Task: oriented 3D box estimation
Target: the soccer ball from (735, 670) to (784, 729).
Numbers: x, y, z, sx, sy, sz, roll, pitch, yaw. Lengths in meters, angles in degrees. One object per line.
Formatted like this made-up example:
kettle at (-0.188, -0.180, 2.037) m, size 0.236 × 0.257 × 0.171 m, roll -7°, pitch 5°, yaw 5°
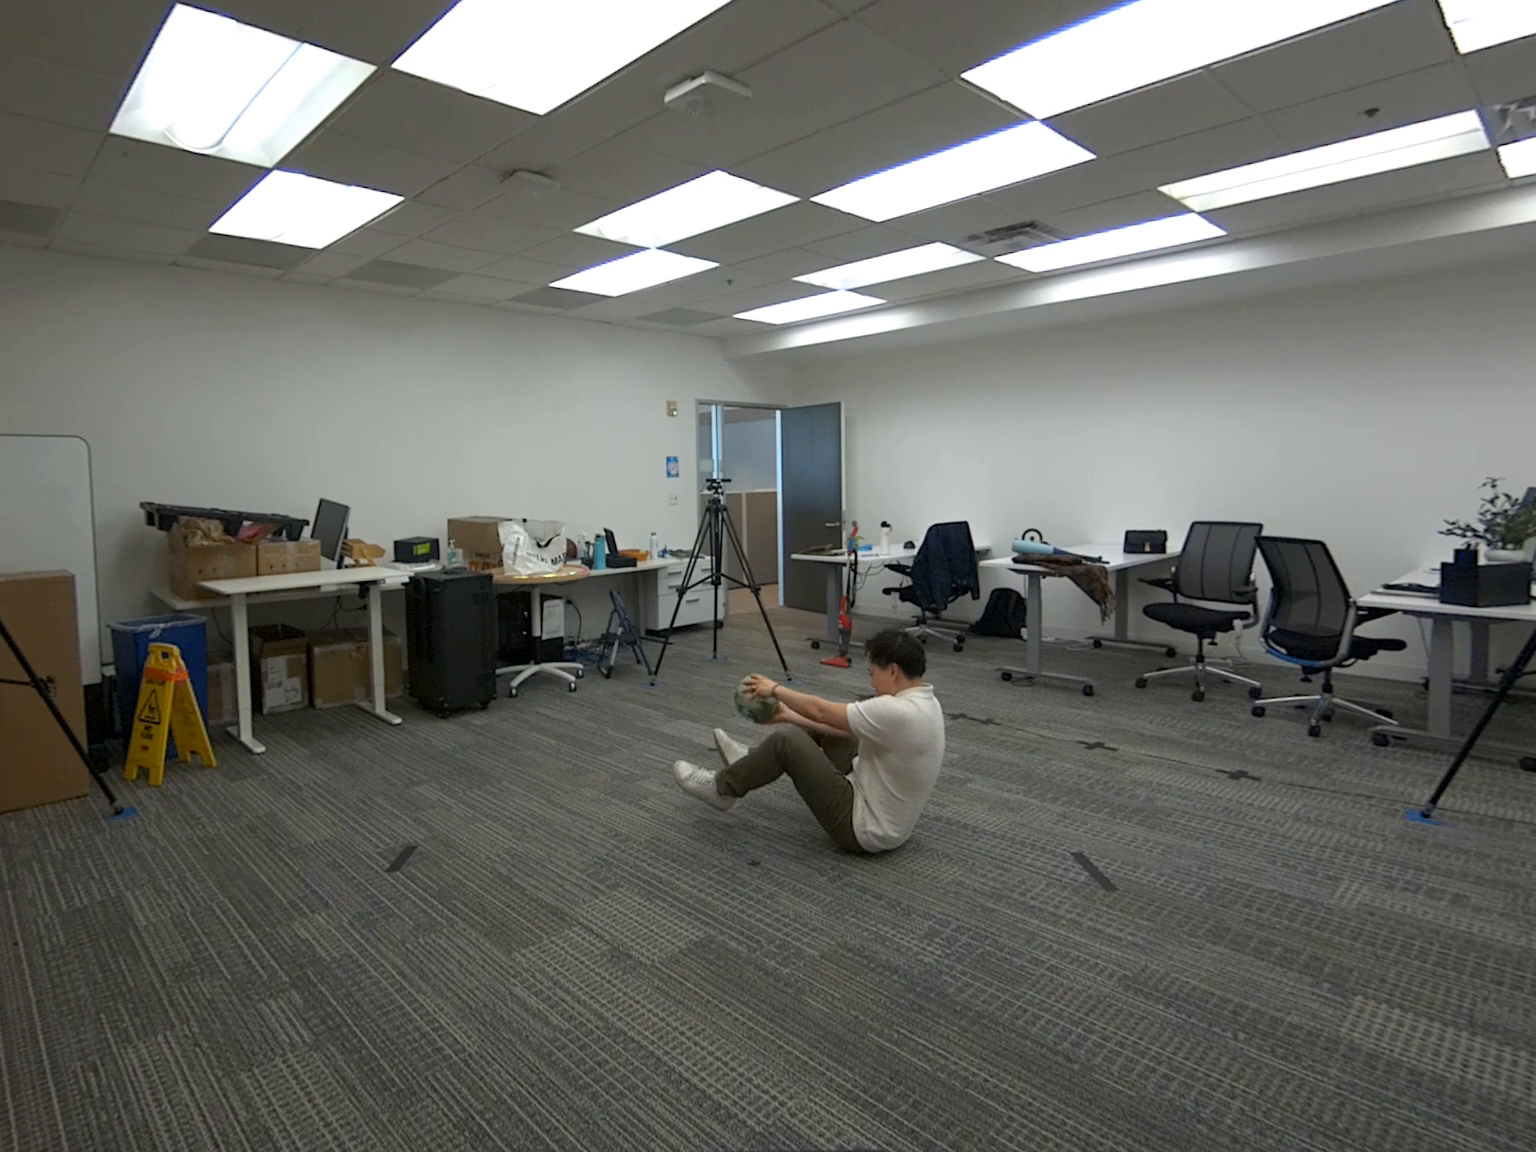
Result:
soccer ball at (-0.038, 0.498, 3.490) m, size 0.187 × 0.187 × 0.188 m, roll -1°, pitch 5°, yaw -2°
